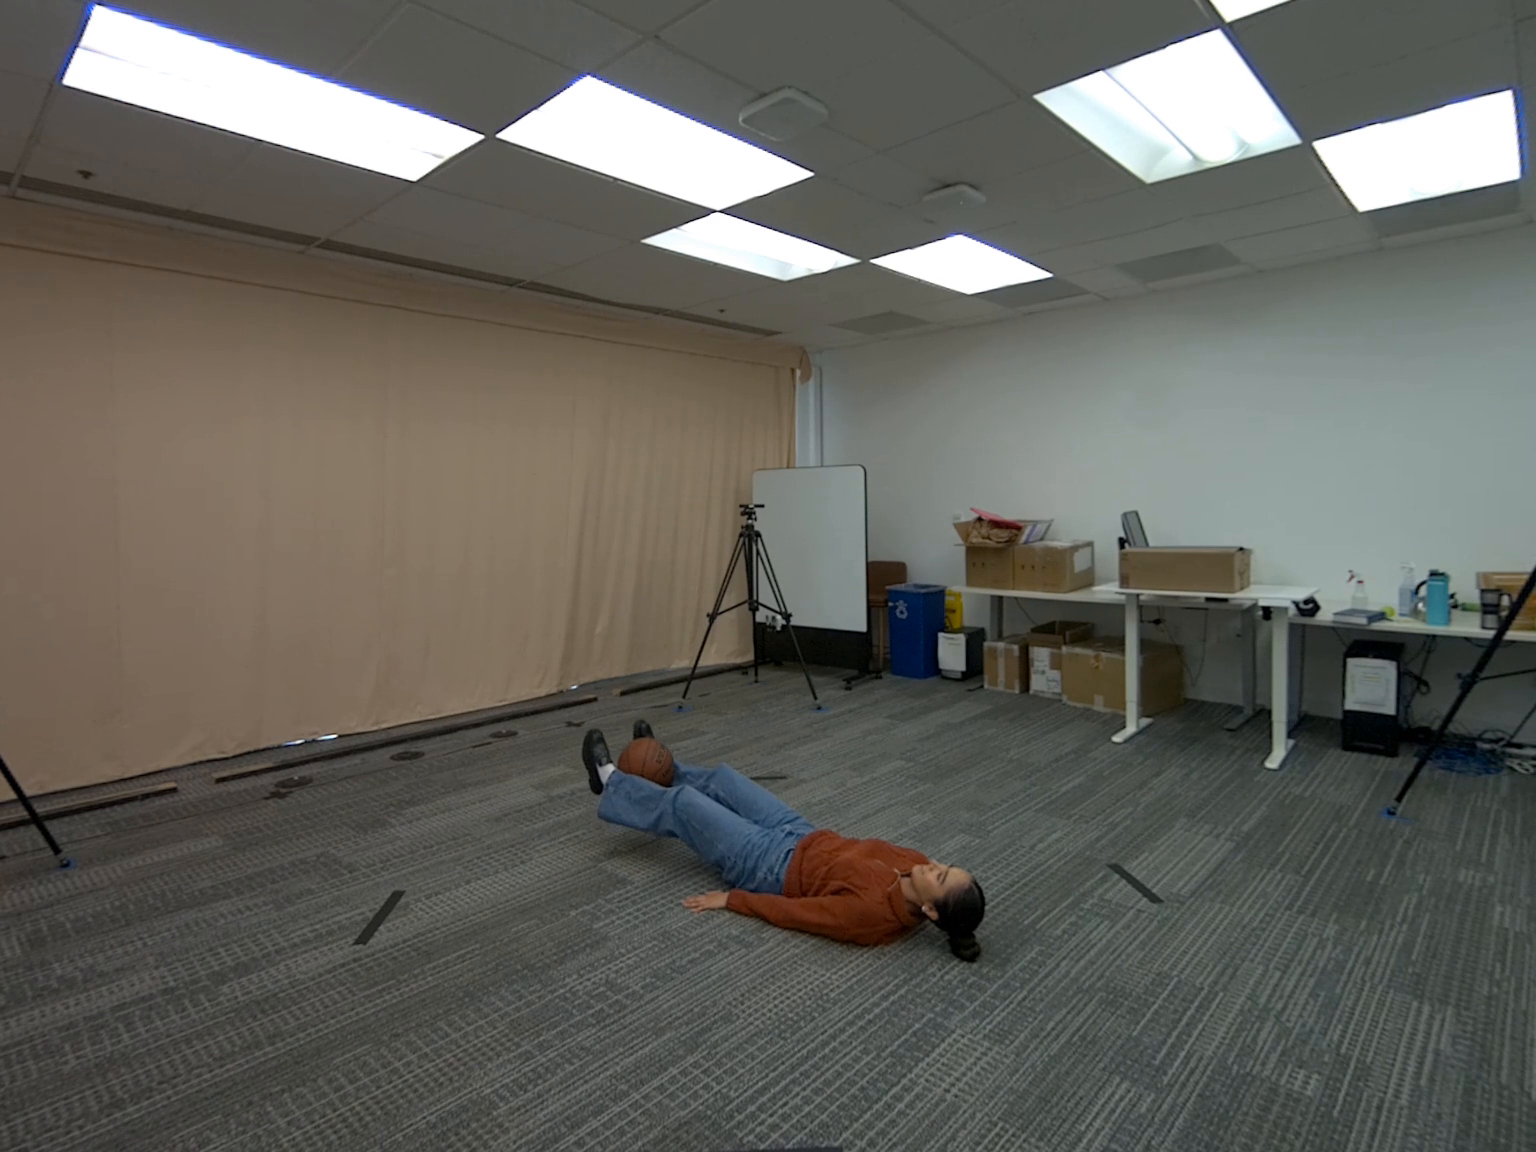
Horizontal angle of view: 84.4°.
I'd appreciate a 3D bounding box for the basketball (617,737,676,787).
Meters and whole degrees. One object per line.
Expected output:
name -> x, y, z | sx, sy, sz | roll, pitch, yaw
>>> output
basketball -> -0.501, 0.791, 3.495 | 0.236, 0.235, 0.237 | -1, 4, -2
